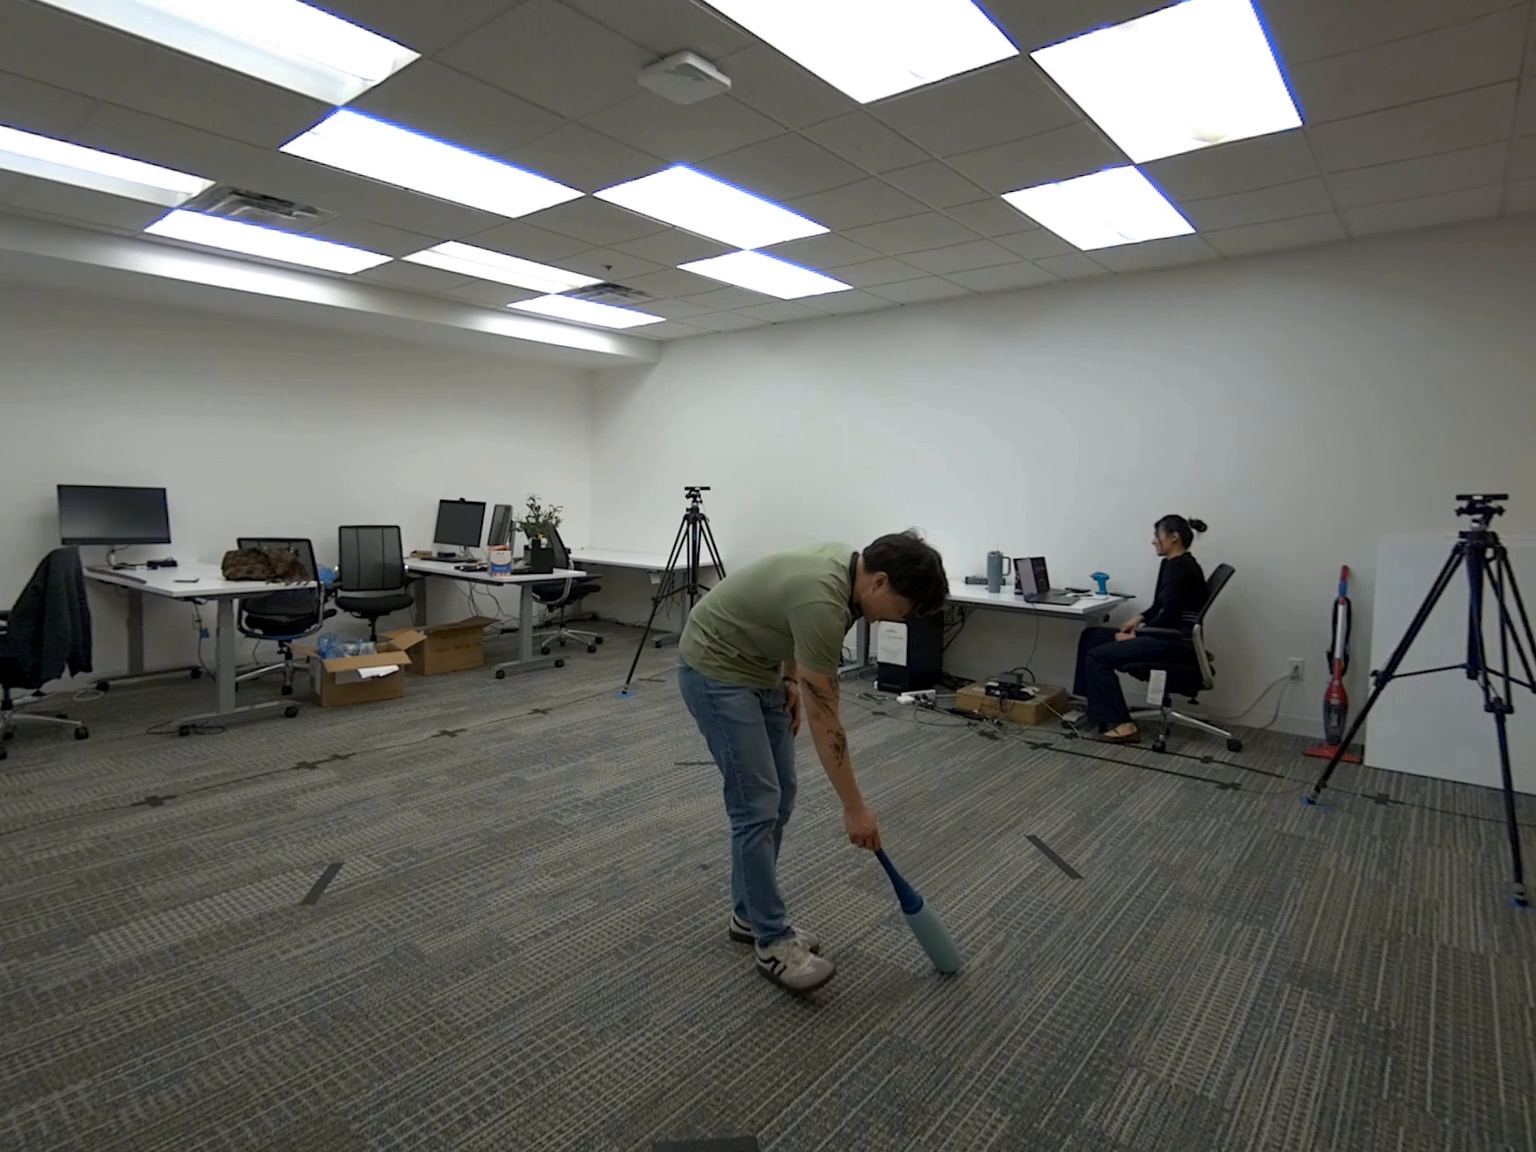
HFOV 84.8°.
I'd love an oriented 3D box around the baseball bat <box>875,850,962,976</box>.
[{"bbox_3d":[0.391,0.917,2.393,0.089,0.530,0.091,-29,18,10],"label":"baseball bat"}]
